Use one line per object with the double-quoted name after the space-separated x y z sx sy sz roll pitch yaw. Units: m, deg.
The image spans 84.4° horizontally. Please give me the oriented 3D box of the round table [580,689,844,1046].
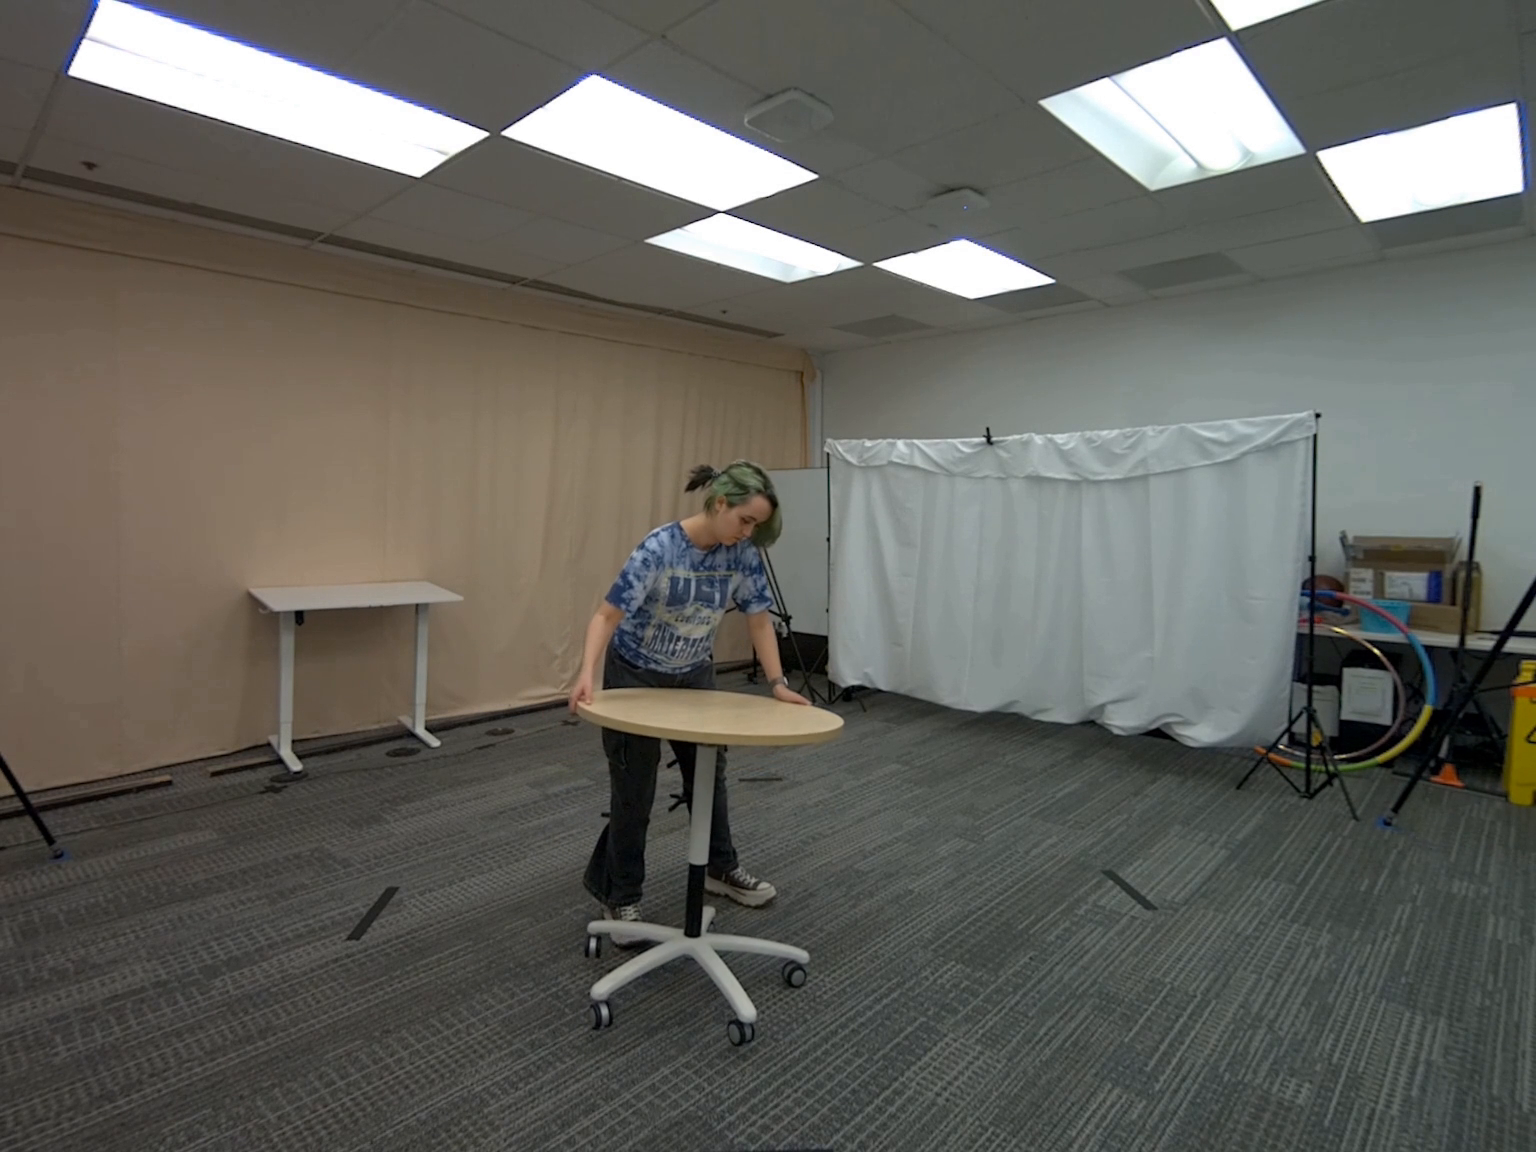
-0.192 0.776 2.411 0.763 0.794 0.764 4 -1 -2 "round table"
